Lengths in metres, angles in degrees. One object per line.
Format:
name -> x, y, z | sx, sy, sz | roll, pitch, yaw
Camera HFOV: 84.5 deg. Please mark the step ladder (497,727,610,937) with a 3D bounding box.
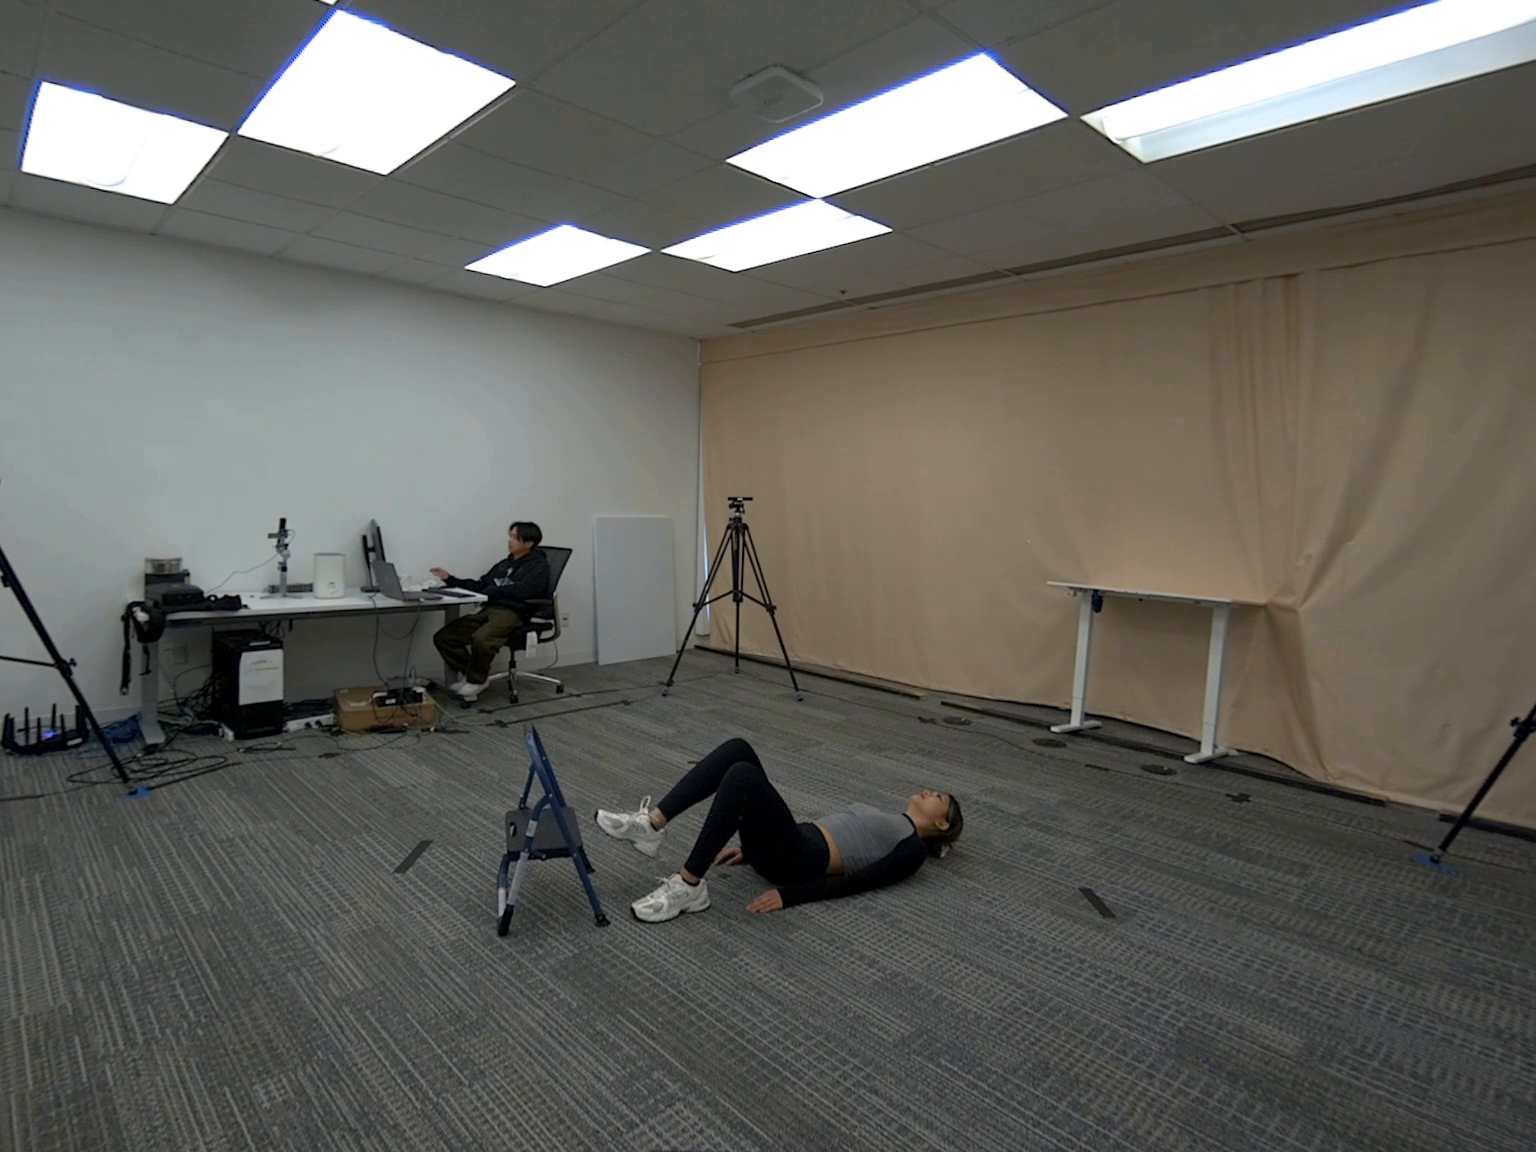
step ladder -> -0.744, 0.816, 2.861 | 0.344, 0.604, 0.438 | 1, 4, -18
